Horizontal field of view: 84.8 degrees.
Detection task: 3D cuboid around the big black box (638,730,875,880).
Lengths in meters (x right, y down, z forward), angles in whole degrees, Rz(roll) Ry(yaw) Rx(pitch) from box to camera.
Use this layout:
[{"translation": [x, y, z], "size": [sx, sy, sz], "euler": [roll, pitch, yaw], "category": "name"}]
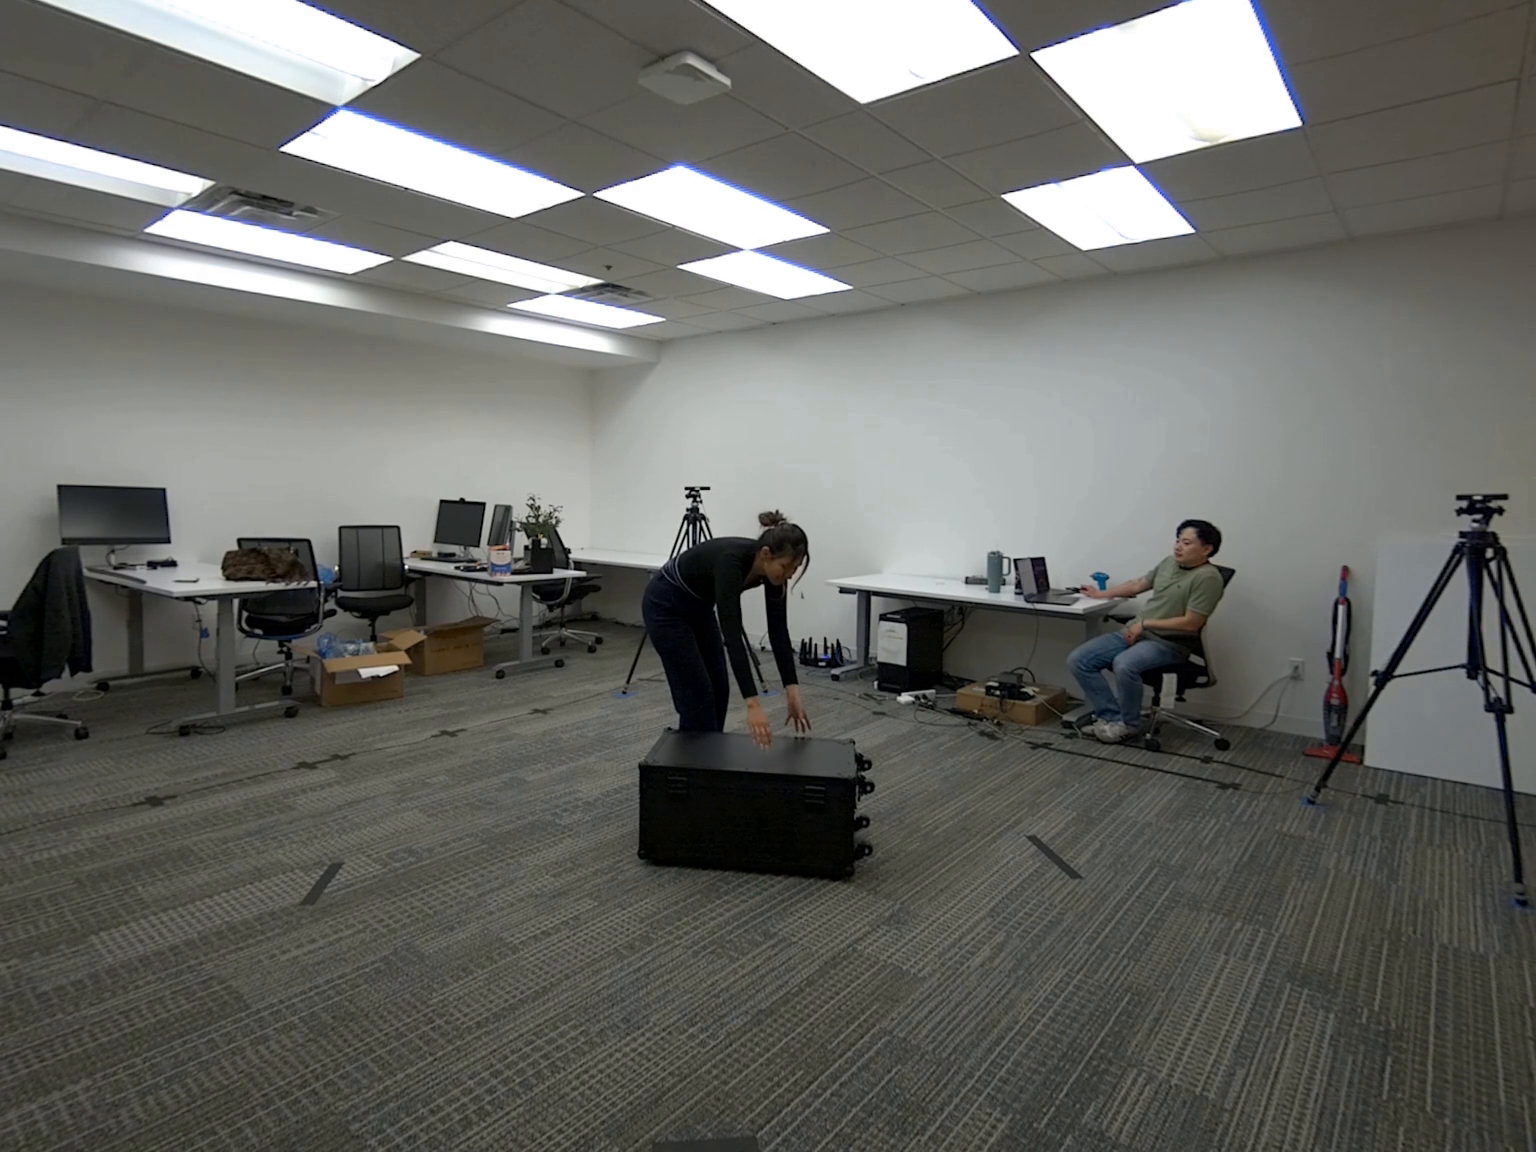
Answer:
[{"translation": [-0.039, 0.856, 3.276], "size": [0.869, 0.395, 0.518], "euler": [1, 4, 8], "category": "big black box"}]
